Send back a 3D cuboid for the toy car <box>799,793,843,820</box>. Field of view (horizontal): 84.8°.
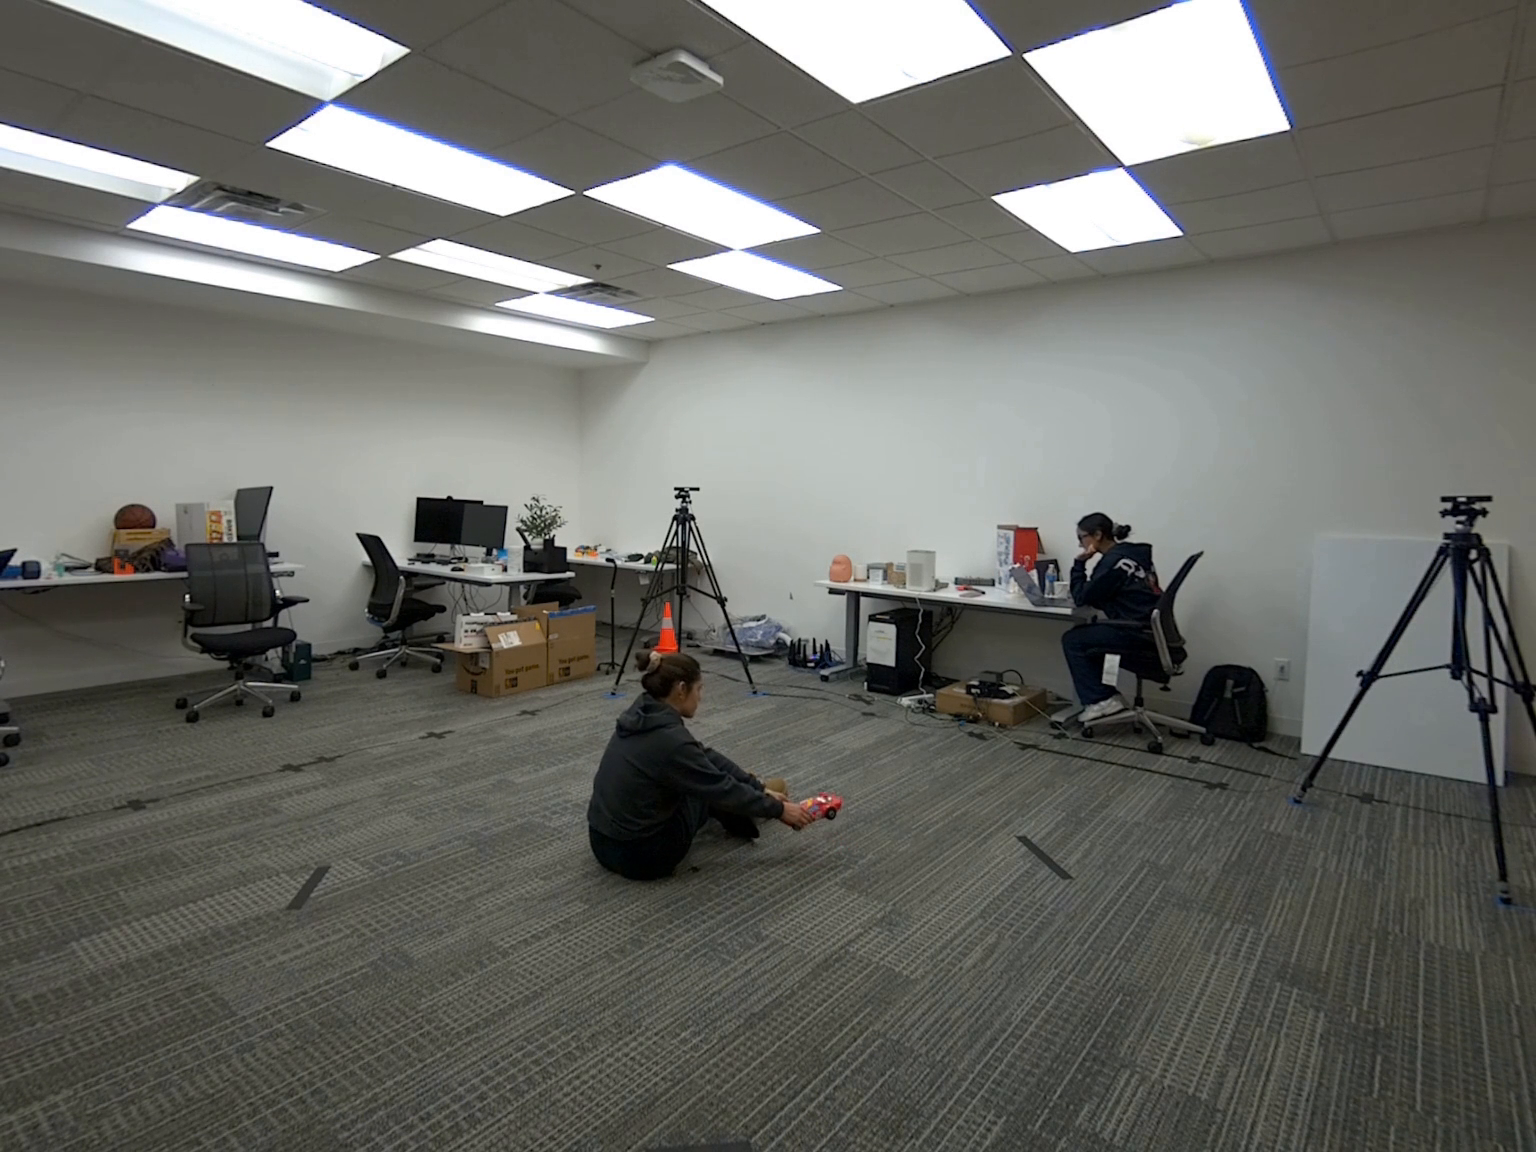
[{"bbox_3d":[0.167,0.895,3.243,0.251,0.082,0.133,-25,12,-22],"label":"toy car"}]
